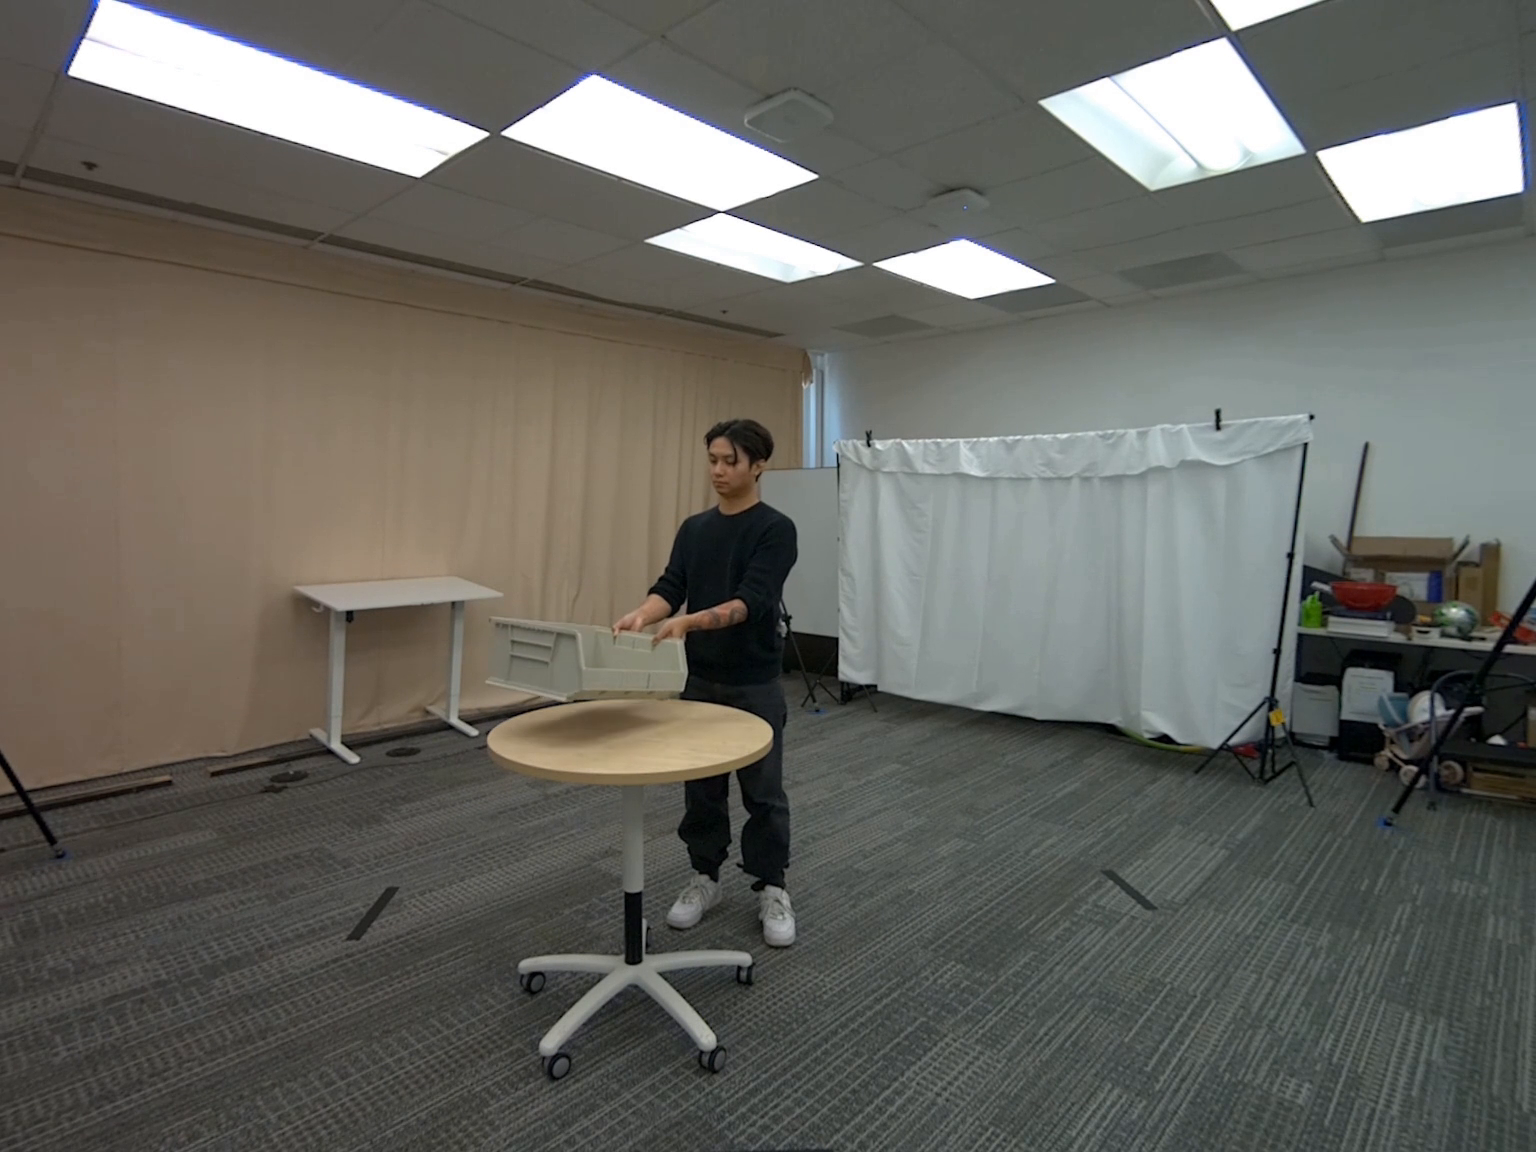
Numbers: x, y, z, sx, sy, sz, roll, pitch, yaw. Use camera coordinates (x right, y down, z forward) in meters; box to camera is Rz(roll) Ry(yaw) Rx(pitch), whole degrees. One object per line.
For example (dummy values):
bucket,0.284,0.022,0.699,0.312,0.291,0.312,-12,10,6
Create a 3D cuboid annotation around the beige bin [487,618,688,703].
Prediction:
beige bin,-0.490,0.239,2.324,0.389,0.189,0.408,4,-4,34
